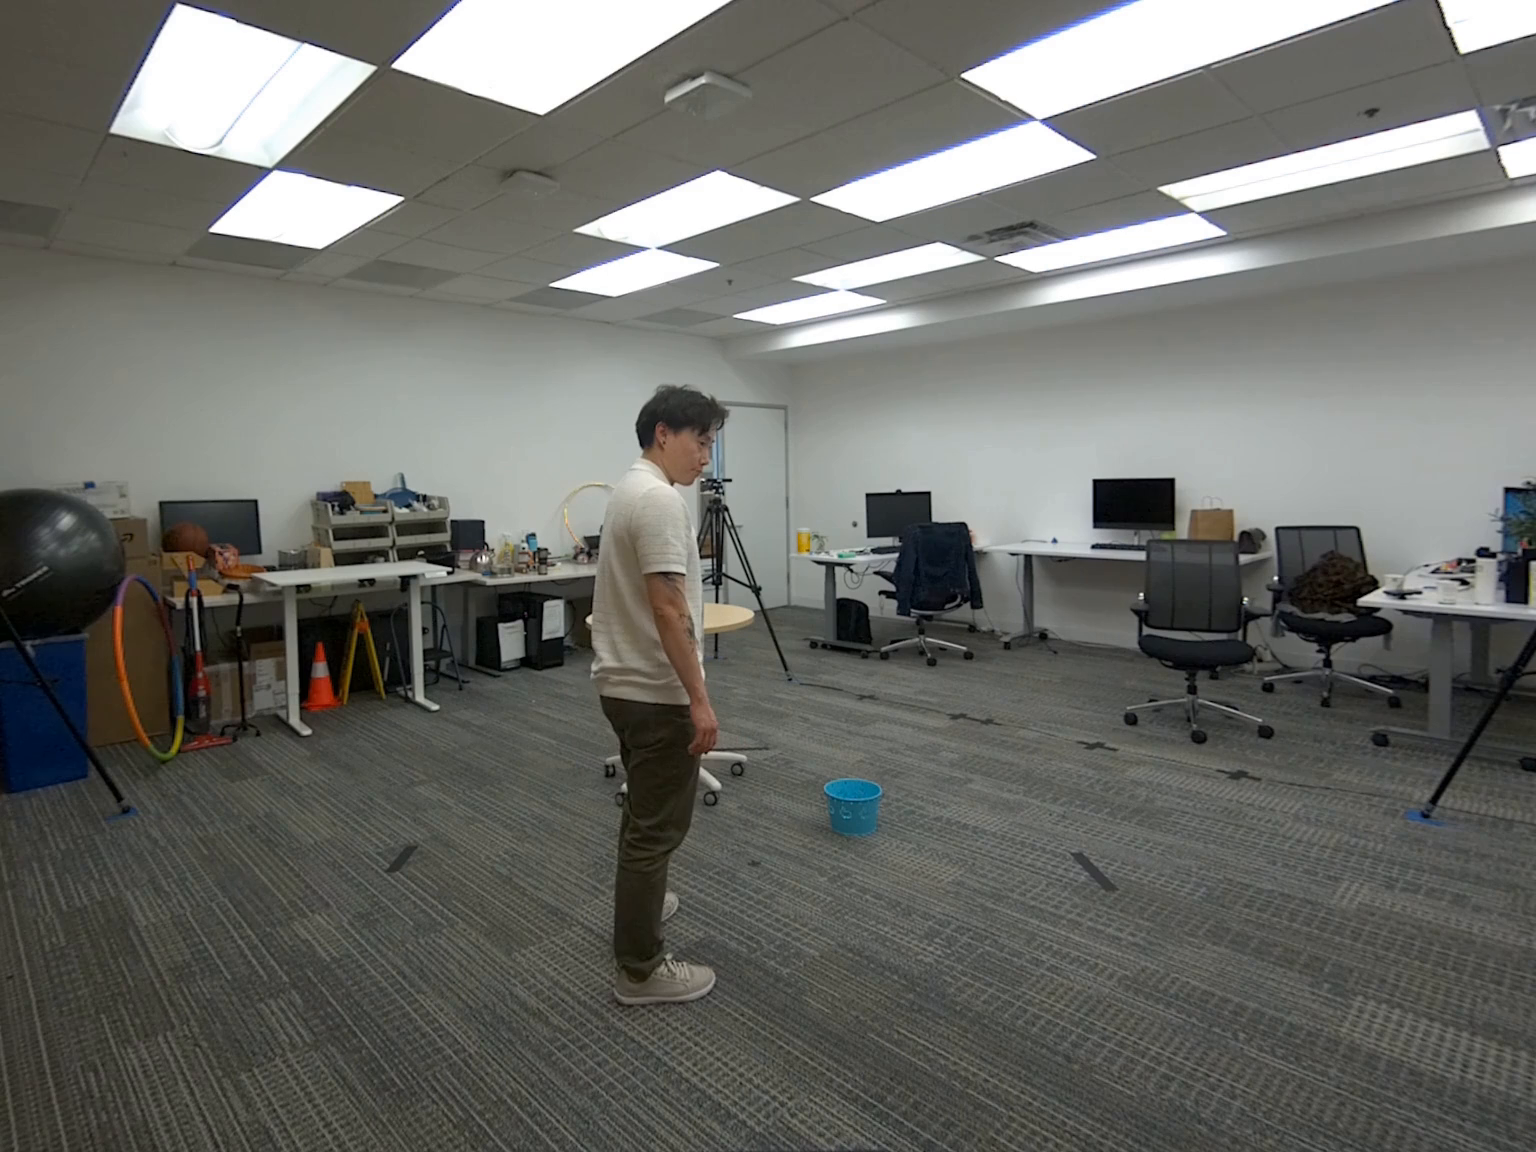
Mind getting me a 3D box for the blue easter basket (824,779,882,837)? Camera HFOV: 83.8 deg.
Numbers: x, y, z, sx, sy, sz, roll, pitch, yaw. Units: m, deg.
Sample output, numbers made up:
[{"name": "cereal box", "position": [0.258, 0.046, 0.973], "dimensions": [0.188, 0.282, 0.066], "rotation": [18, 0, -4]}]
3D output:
[{"name": "blue easter basket", "position": [0.342, 0.921, 3.426], "dimensions": [0.243, 0.155, 0.245], "rotation": [-1, 6, -2]}]
